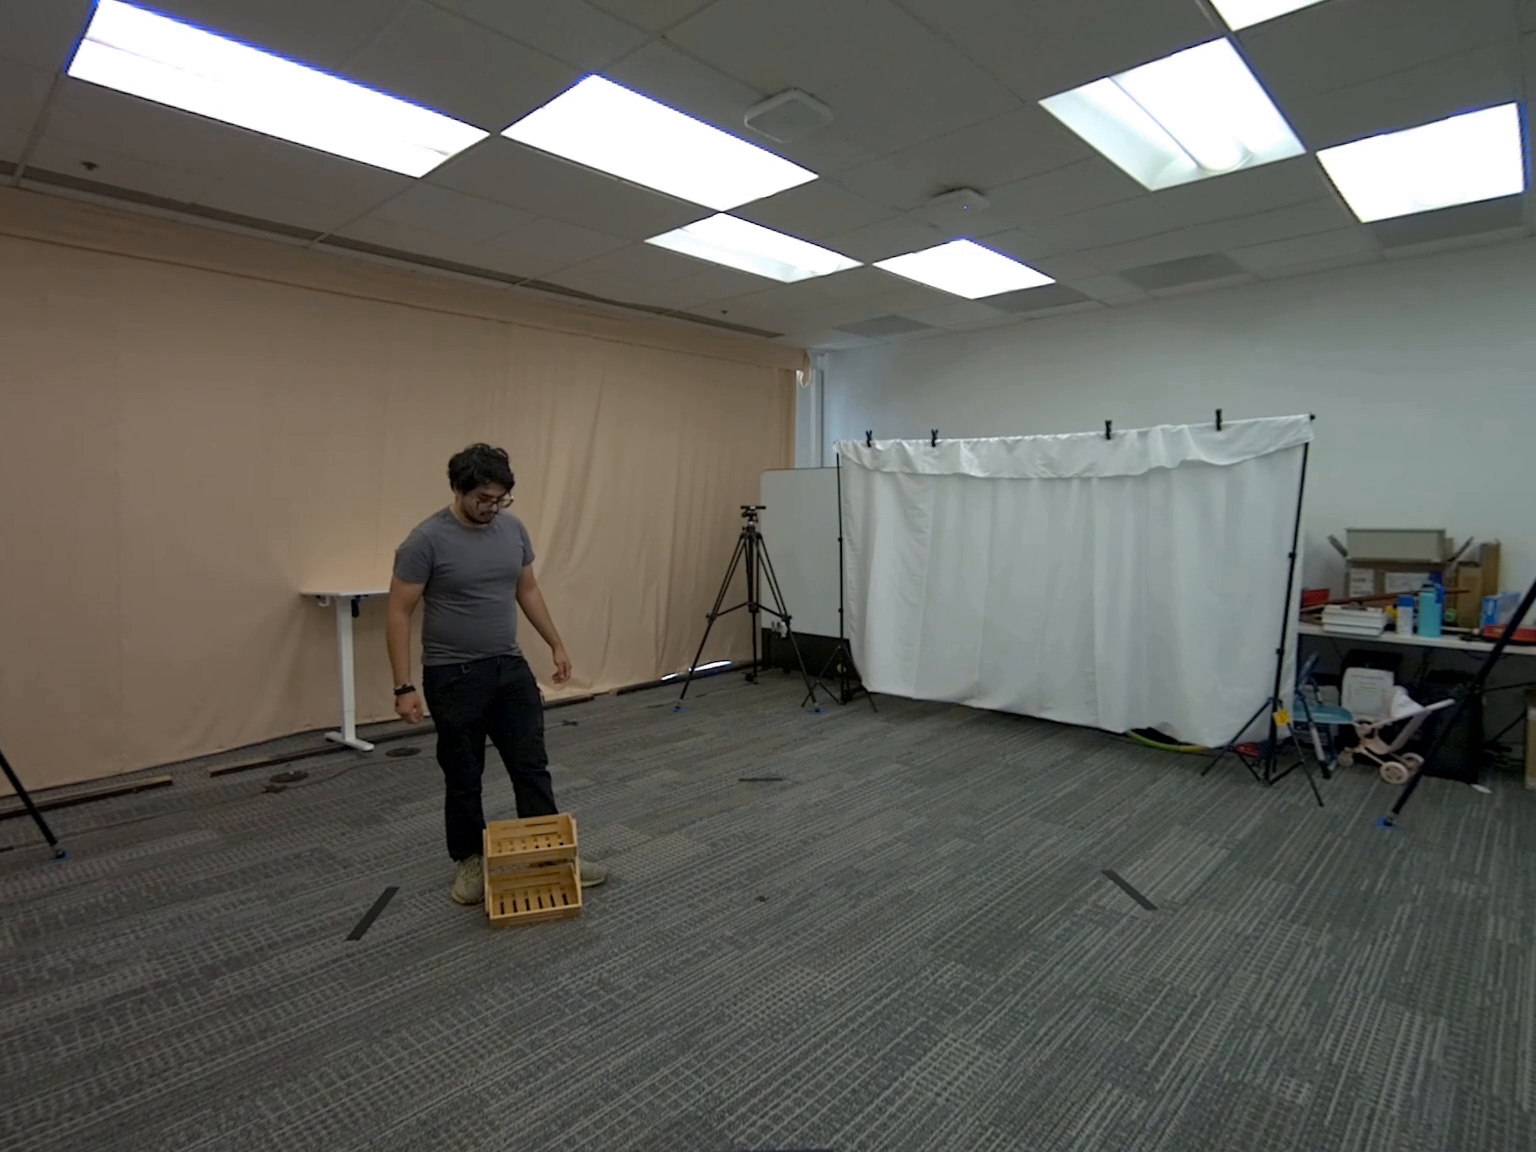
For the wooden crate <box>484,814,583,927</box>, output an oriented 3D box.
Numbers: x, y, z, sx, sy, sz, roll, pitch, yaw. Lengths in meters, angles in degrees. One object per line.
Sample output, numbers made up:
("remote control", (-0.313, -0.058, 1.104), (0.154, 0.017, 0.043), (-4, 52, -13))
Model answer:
("wooden crate", (-0.824, 1.021, 2.935), (0.318, 0.273, 0.308), (-2, 3, -19))
